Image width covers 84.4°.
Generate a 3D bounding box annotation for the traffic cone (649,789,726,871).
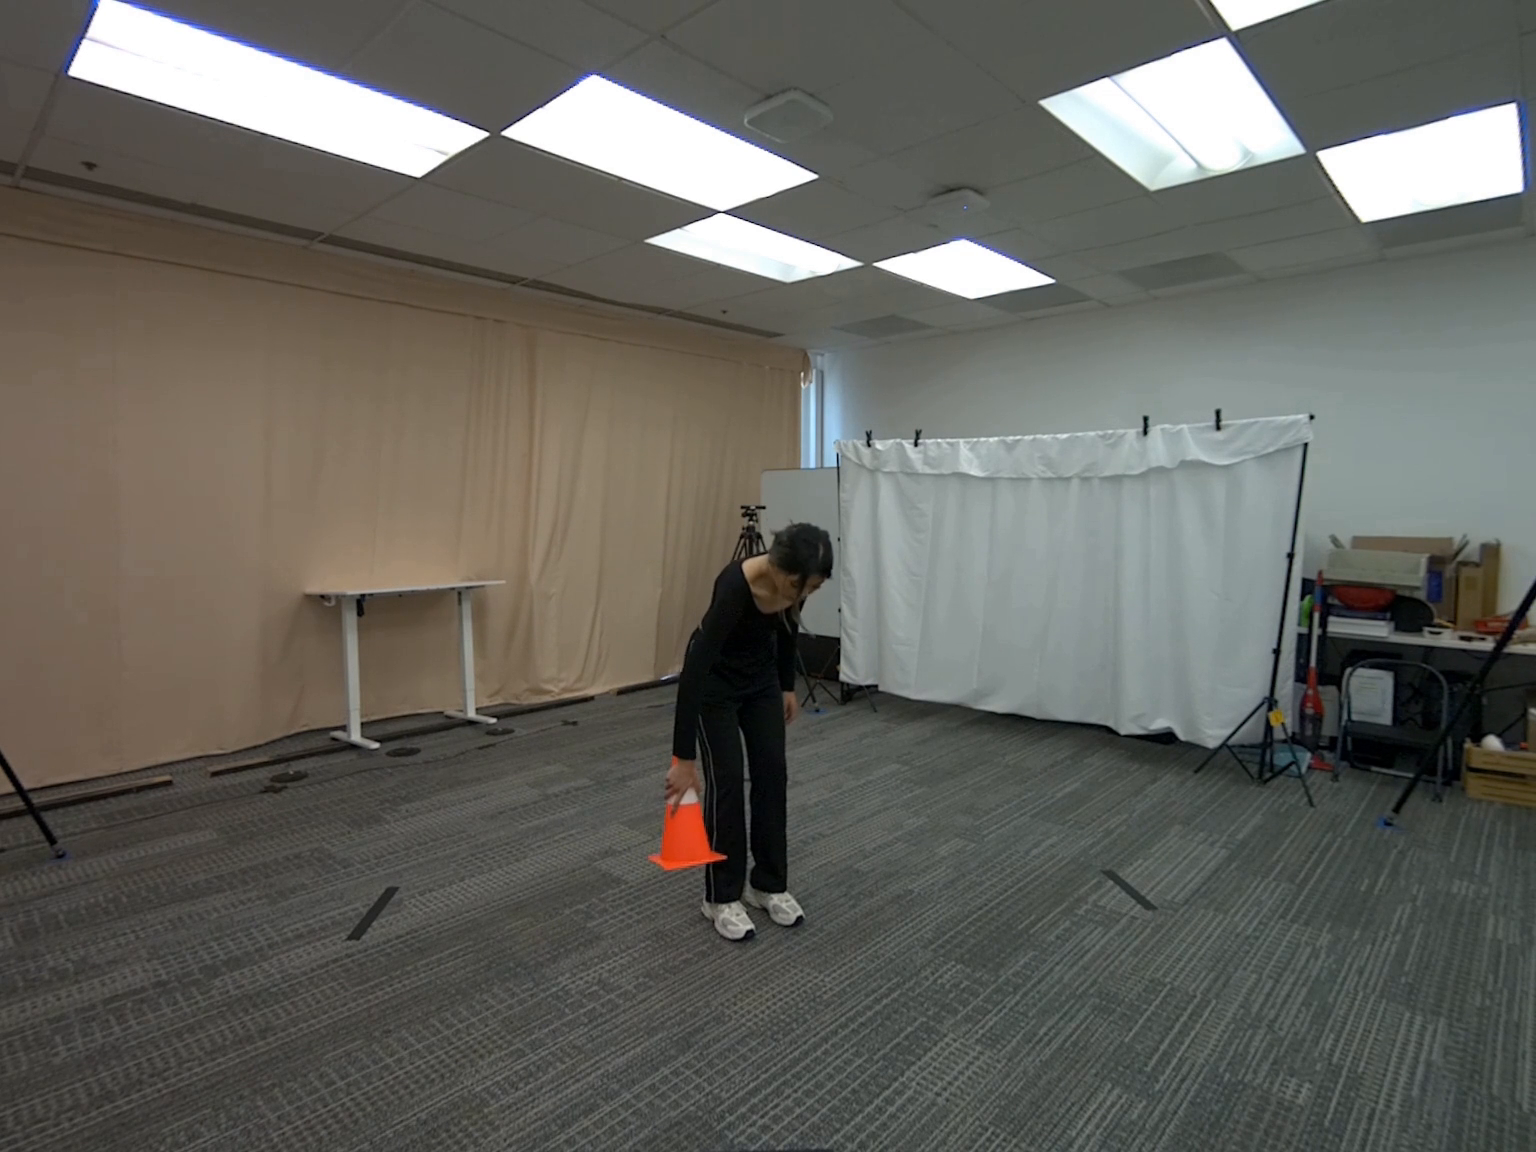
[{"bbox_3d":[-0.263,0.683,2.608,0.198,0.386,0.209,0,-8,-26],"label":"traffic cone"}]
